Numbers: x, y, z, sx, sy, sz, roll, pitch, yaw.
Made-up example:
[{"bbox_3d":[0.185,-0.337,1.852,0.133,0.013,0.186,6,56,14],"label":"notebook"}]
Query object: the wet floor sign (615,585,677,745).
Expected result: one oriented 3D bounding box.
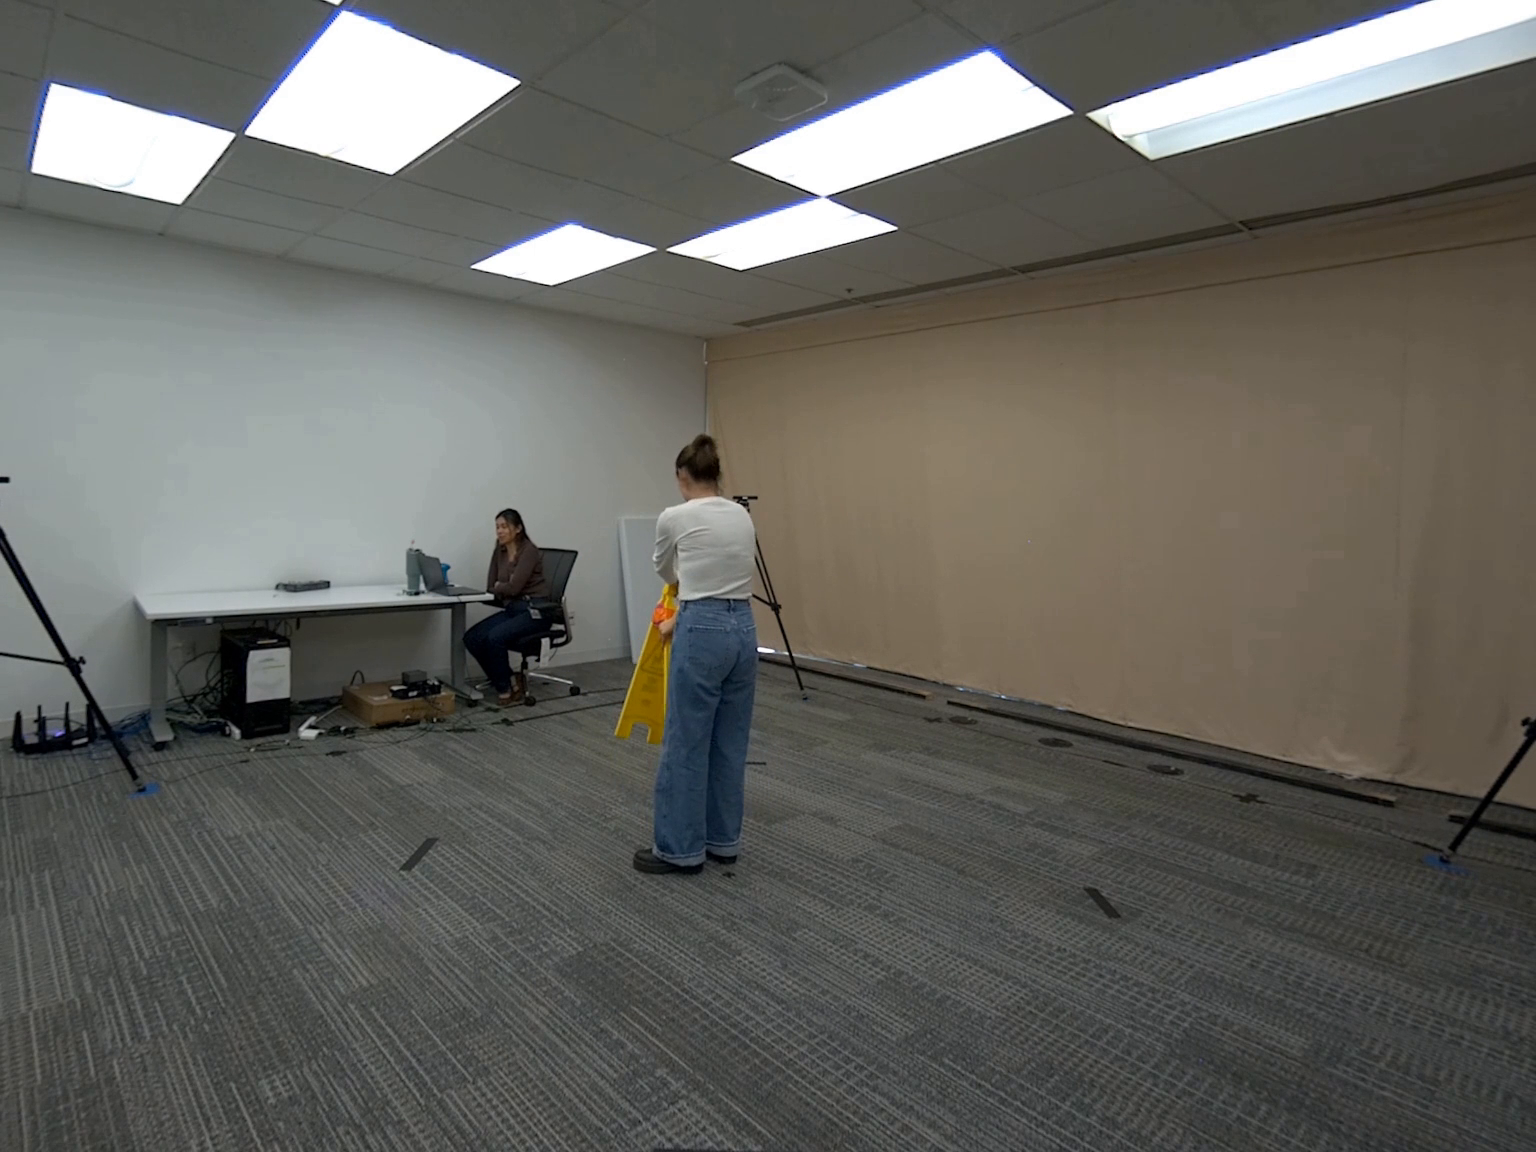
[{"bbox_3d":[-0.415,0.366,3.521,0.295,0.653,0.273,-7,-21,34],"label":"wet floor sign"}]
